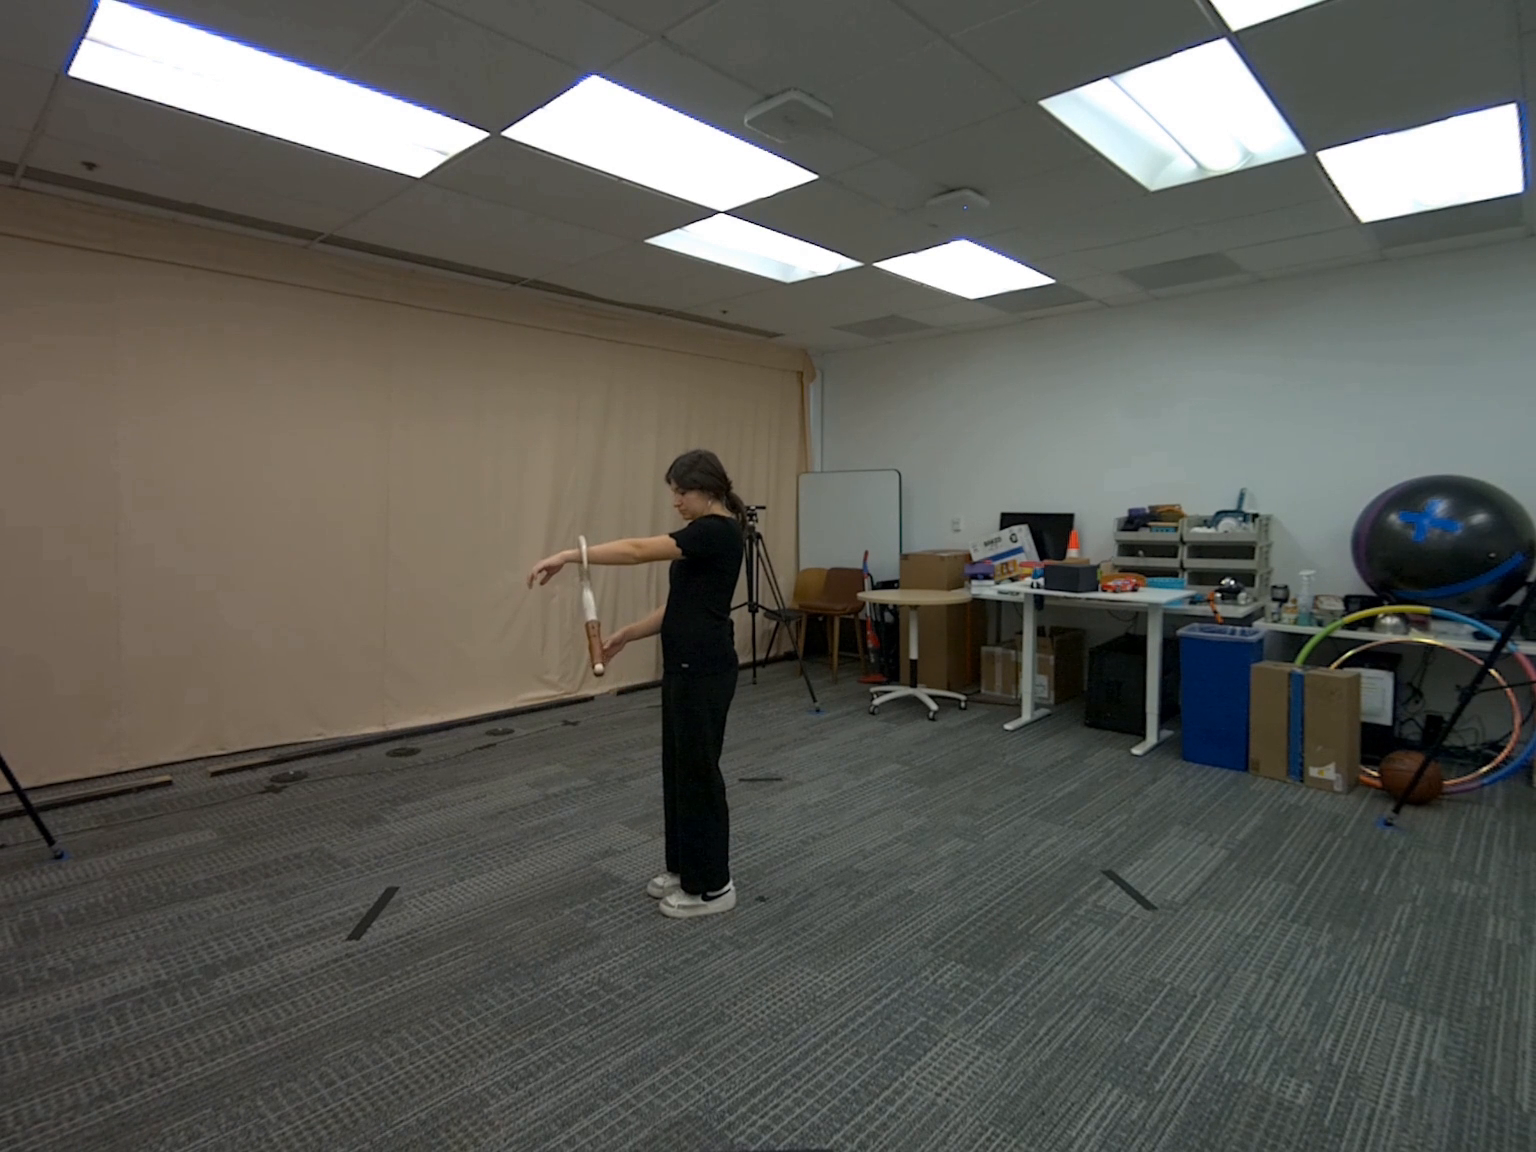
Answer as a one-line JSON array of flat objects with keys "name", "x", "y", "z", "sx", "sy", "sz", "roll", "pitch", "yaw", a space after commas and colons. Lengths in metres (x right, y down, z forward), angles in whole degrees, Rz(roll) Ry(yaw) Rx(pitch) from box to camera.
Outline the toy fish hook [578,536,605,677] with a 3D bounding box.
[{"name": "toy fish hook", "x": -0.563, "y": 0.084, "z": 2.622, "sx": 0.048, "sy": 0.220, "sz": 0.521, "roll": -9, "pitch": 46, "yaw": -11}]
